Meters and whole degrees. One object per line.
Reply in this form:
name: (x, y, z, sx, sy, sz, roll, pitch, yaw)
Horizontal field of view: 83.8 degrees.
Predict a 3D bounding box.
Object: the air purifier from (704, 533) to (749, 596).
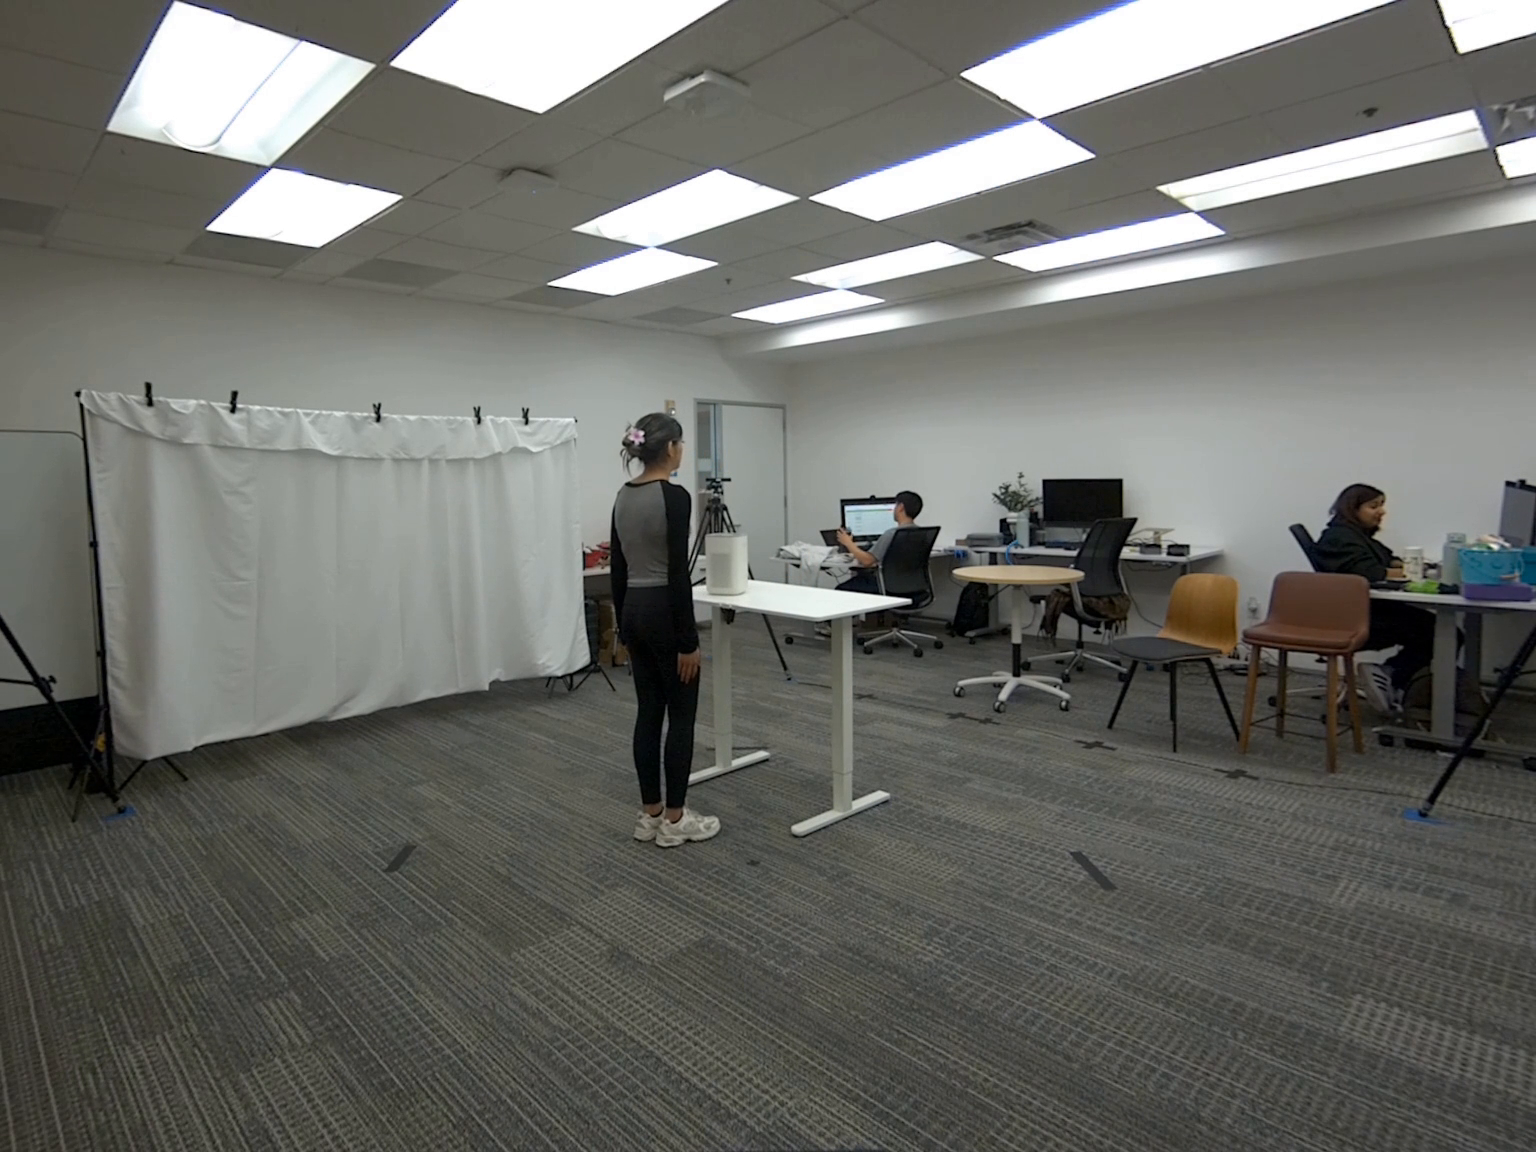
air purifier: (-0.184, -0.054, 3.832, 0.174, 0.264, 0.169, 1, 5, 15)
